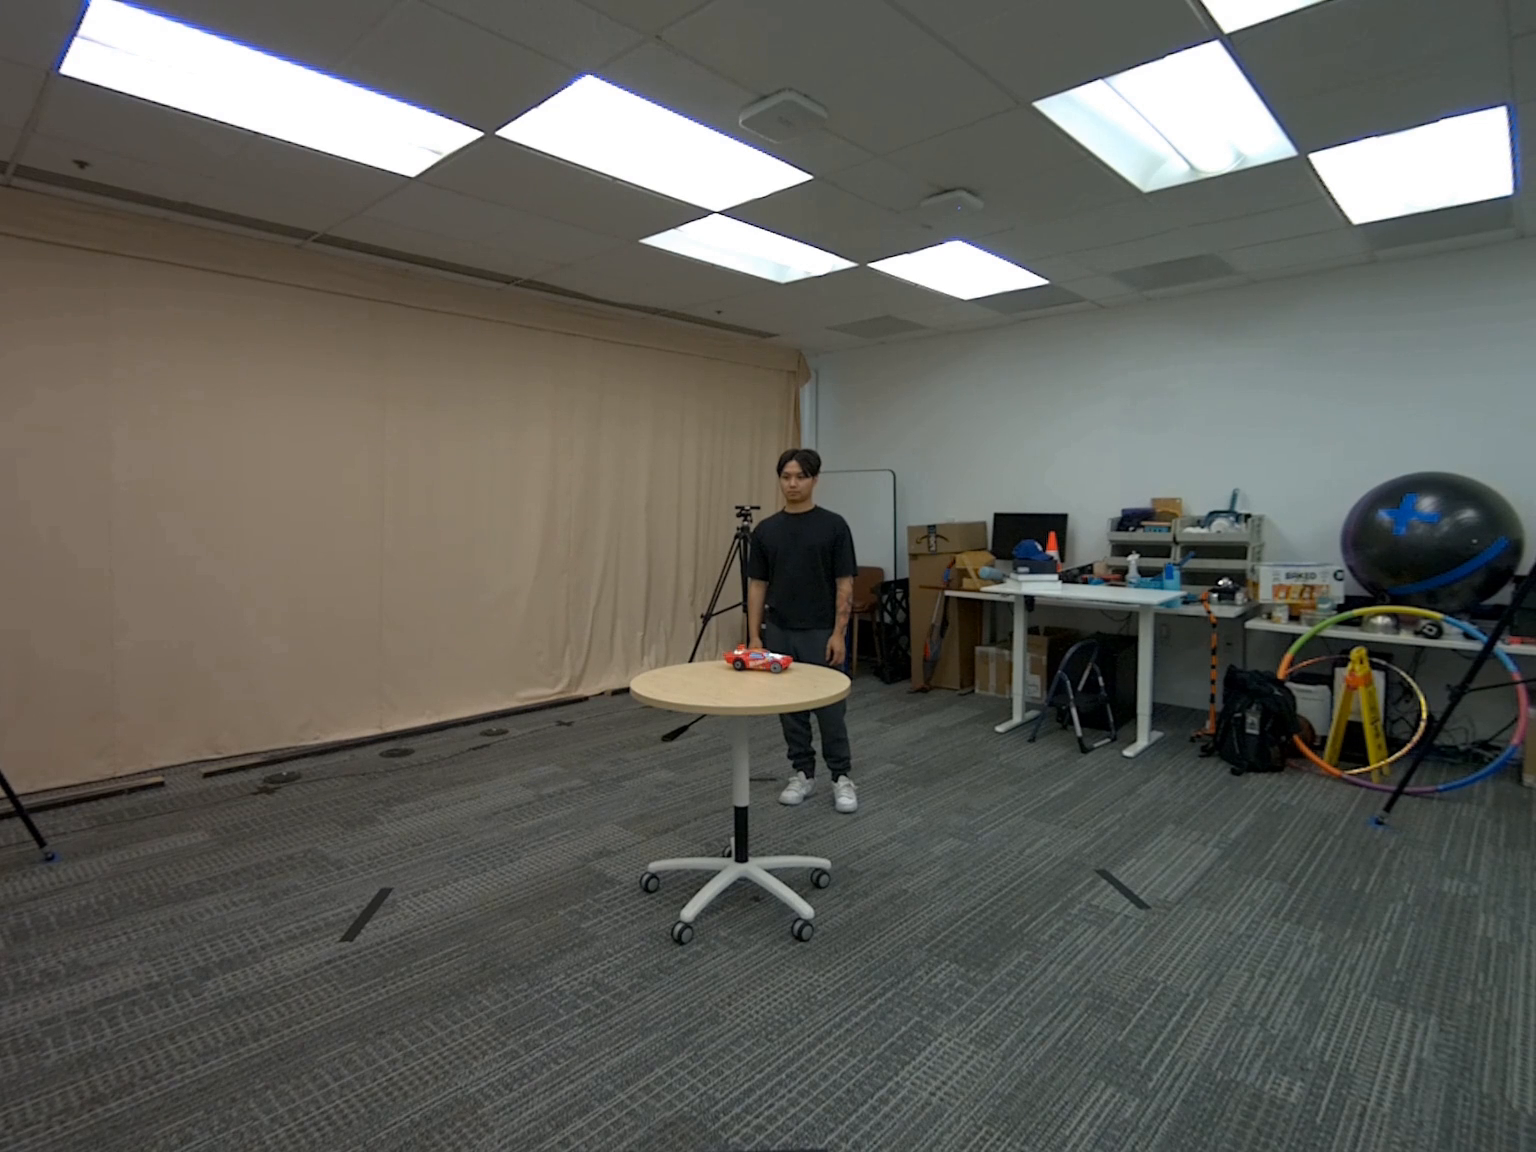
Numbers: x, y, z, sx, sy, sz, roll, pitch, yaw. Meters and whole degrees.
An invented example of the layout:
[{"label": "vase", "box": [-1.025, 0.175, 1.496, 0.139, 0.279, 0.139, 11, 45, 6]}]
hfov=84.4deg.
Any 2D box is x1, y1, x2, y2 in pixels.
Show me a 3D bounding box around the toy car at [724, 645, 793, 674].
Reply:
[{"label": "toy car", "box": [-0.039, 0.315, 3.130, 0.261, 0.083, 0.127, 13, 9, 21]}]
